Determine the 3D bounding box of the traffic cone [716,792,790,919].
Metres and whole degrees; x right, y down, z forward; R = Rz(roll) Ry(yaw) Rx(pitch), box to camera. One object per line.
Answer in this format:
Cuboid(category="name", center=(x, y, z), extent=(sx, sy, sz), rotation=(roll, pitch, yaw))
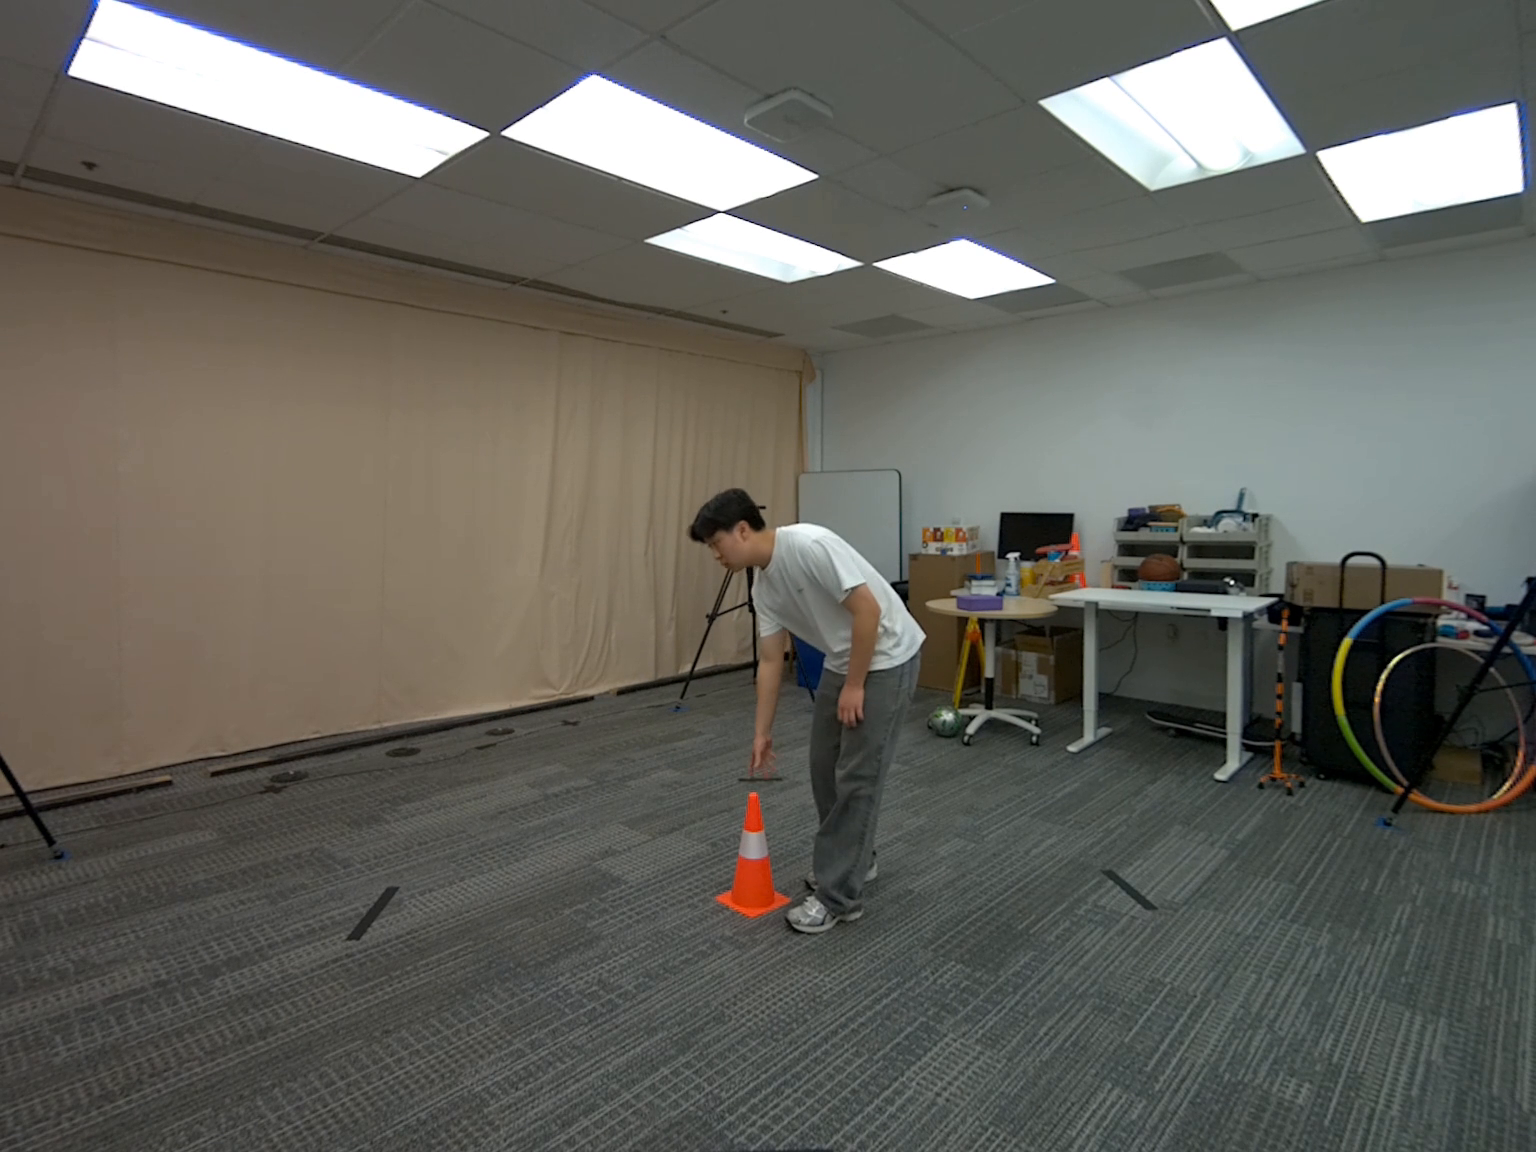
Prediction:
Cuboid(category="traffic cone", center=(-0.030, 0.958, 2.965), extent=(0.210, 0.383, 0.199), rotation=(4, 5, 39))
